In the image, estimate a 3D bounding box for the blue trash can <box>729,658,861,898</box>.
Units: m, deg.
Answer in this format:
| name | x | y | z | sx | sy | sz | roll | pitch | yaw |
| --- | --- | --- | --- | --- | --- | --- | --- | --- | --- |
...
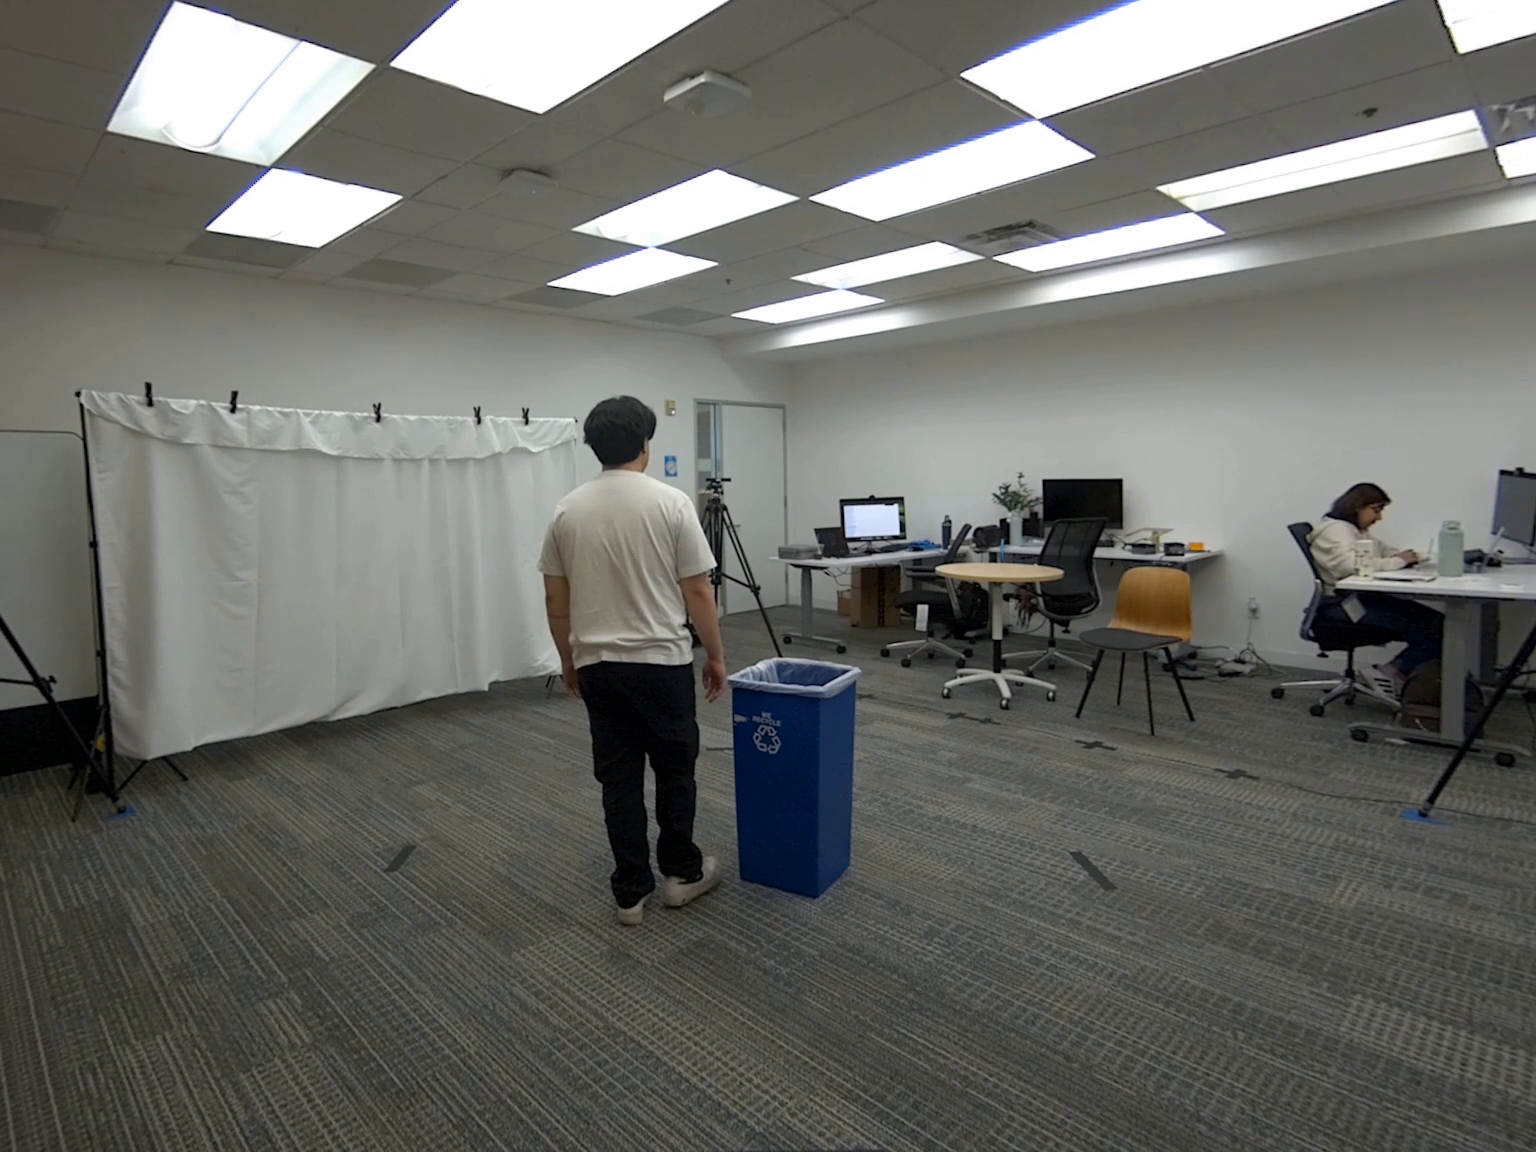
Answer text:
| name | x | y | z | sx | sy | sz | roll | pitch | yaw |
| --- | --- | --- | --- | --- | --- | --- | --- | --- | --- |
| blue trash can | 0.105 | 0.691 | 3.009 | 0.384 | 0.711 | 0.370 | 1 | 5 | 29 |
